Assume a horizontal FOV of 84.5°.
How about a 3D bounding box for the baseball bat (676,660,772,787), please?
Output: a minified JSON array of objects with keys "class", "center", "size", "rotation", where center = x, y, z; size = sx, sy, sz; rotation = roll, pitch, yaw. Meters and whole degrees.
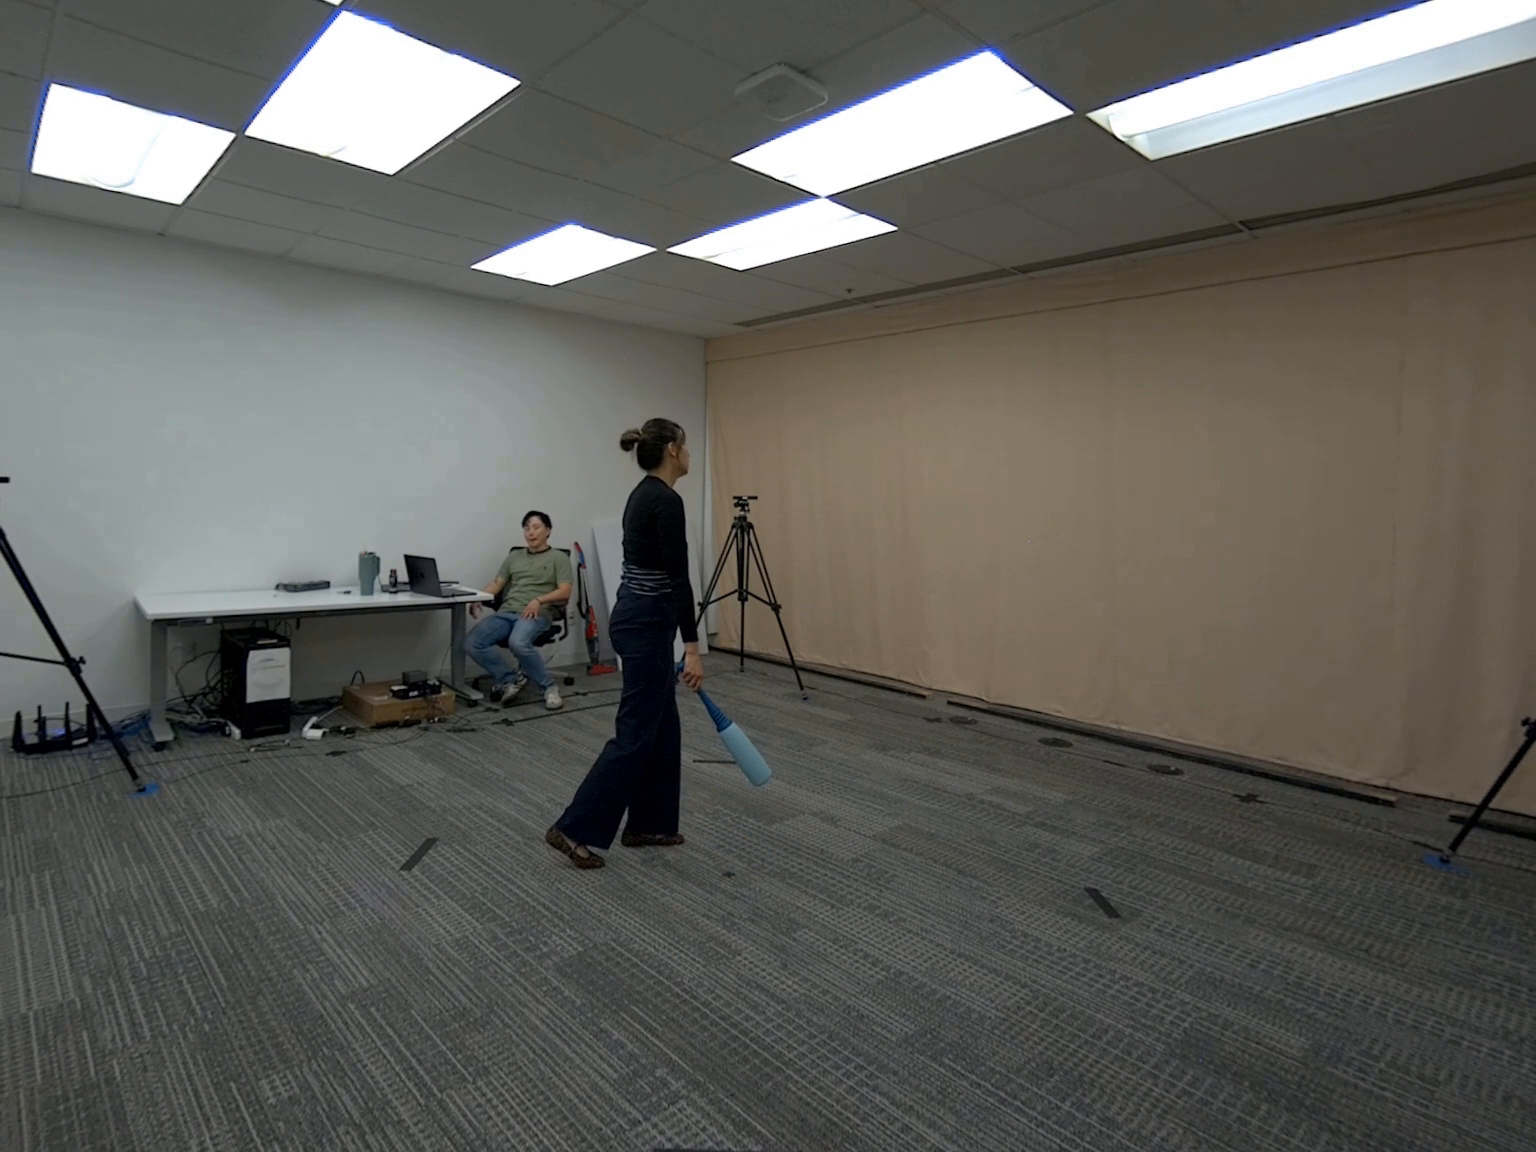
[{"class":"baseball bat","center":[-0.181,0.550,3.111],"size":[0.089,0.542,0.089],"rotation":[-35,2,1]}]
